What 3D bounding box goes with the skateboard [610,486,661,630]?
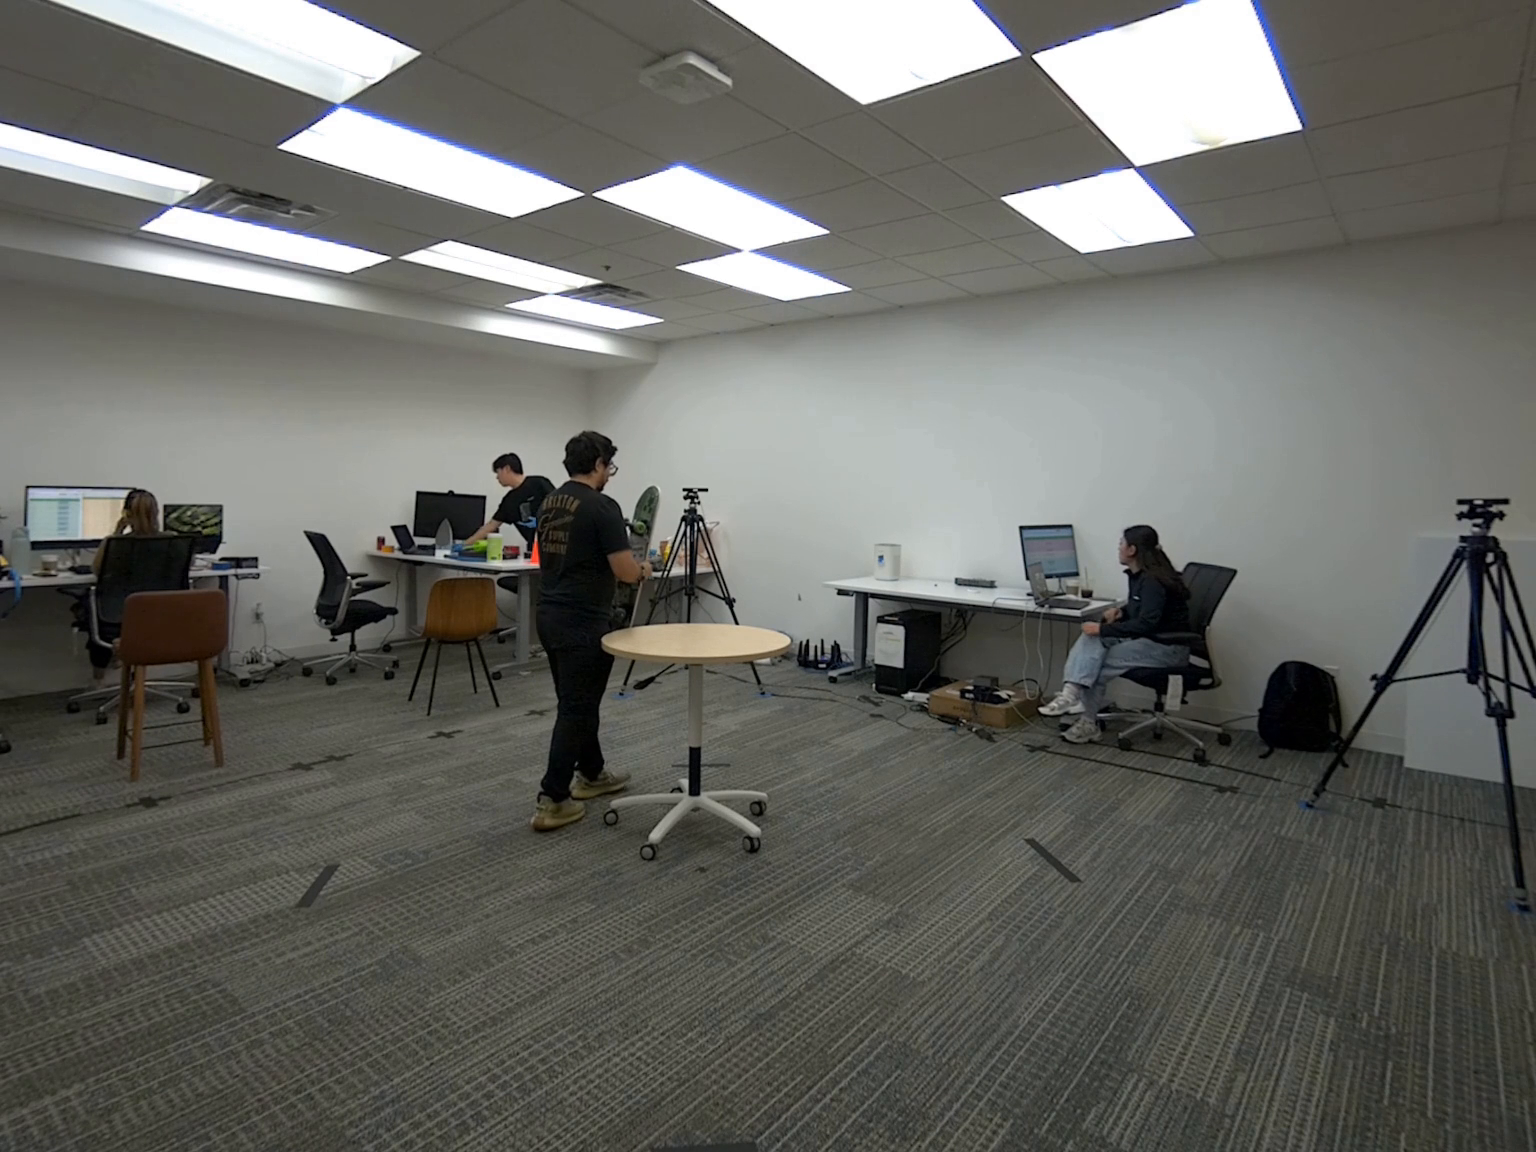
[{"bbox_3d":[-0.656,-0.041,3.906,0.106,0.785,0.200,11,2,-38],"label":"skateboard"}]
